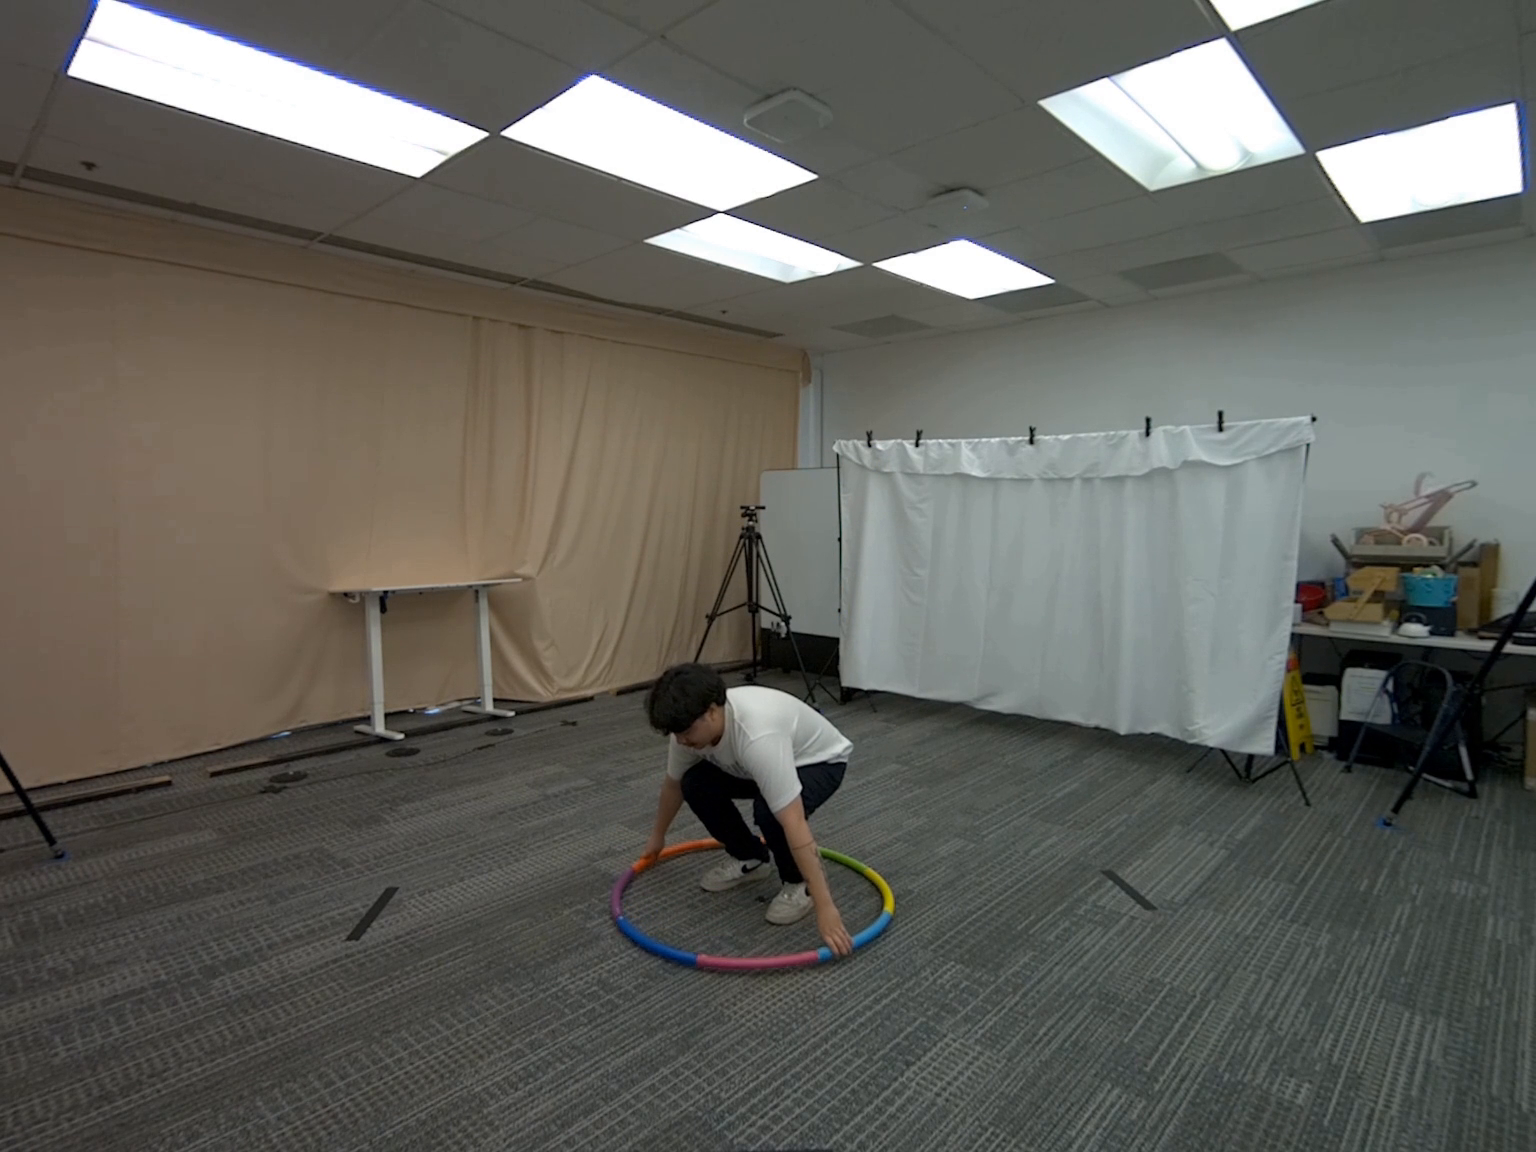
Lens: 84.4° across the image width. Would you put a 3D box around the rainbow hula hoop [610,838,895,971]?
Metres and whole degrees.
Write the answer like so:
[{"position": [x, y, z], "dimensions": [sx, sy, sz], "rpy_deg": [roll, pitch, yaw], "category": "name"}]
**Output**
[{"position": [-0.055, 1.108, 2.975], "dimensions": [0.984, 0.051, 0.988], "rpy_deg": [0, 4, -2], "category": "rainbow hula hoop"}]
